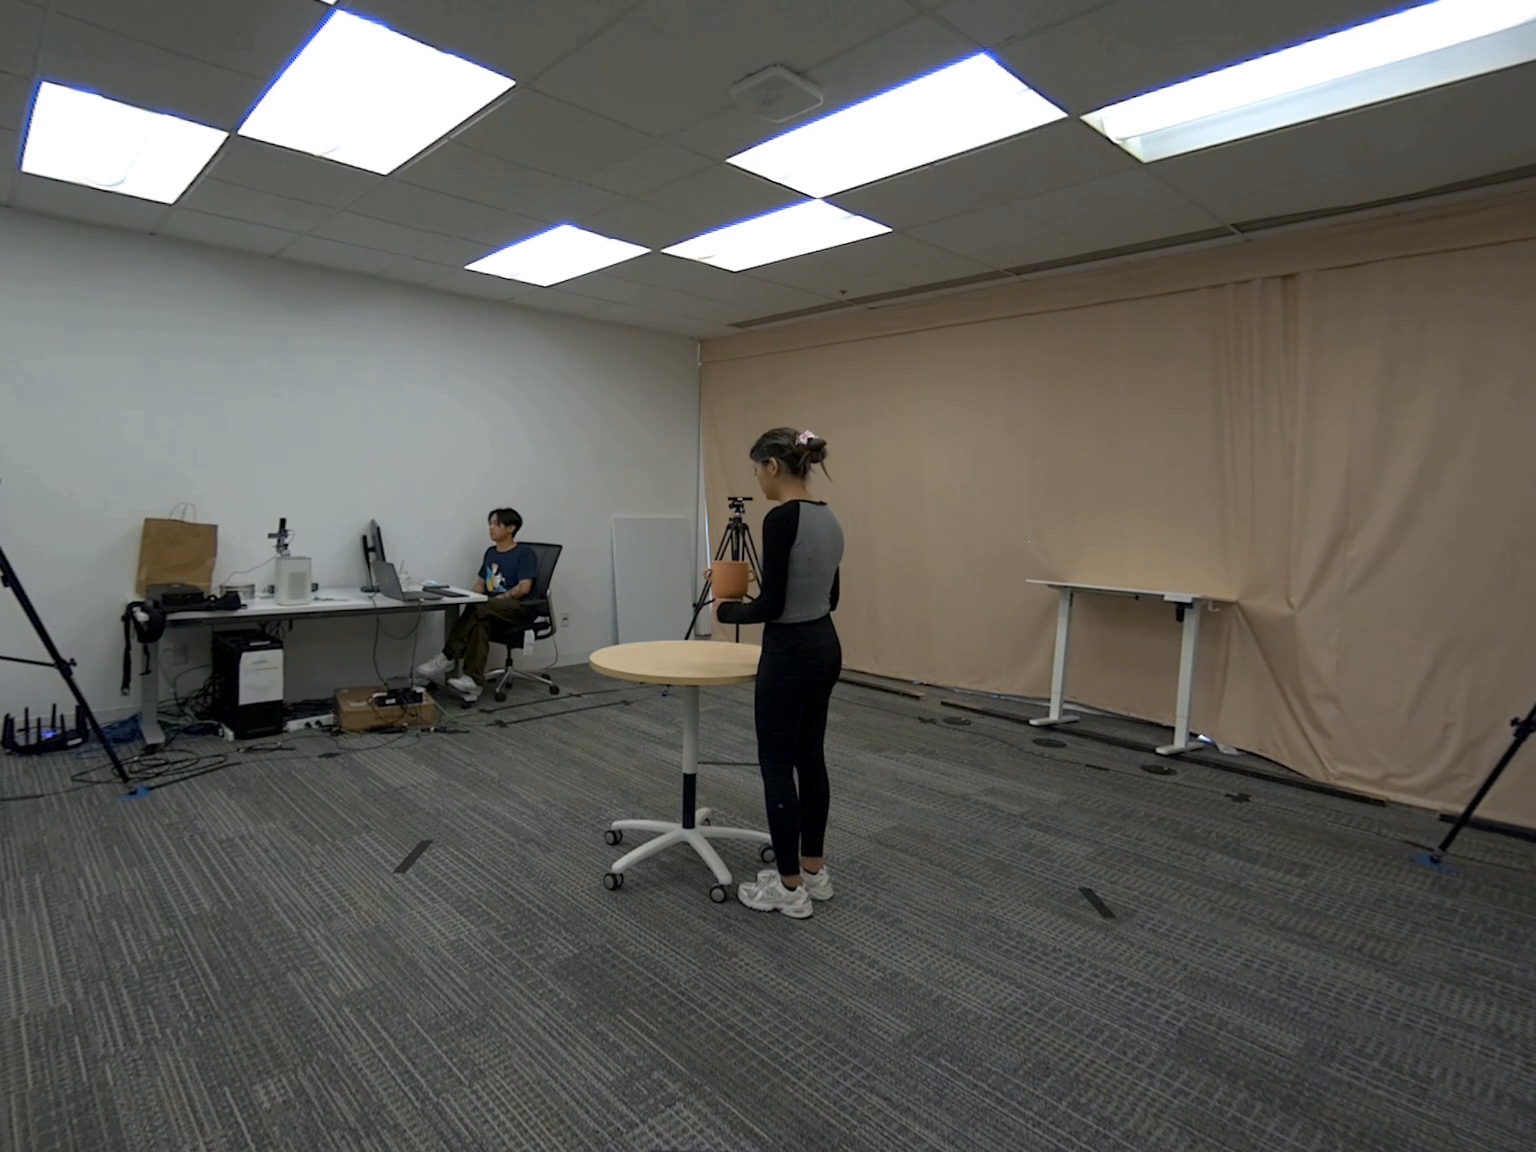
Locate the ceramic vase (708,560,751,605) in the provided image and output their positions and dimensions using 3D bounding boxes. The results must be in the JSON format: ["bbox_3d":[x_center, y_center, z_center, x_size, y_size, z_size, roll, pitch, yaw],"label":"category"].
[{"bbox_3d":[-0.139,0.057,3.016,0.161,0.220,0.132,1,-1,22],"label":"ceramic vase"}]
